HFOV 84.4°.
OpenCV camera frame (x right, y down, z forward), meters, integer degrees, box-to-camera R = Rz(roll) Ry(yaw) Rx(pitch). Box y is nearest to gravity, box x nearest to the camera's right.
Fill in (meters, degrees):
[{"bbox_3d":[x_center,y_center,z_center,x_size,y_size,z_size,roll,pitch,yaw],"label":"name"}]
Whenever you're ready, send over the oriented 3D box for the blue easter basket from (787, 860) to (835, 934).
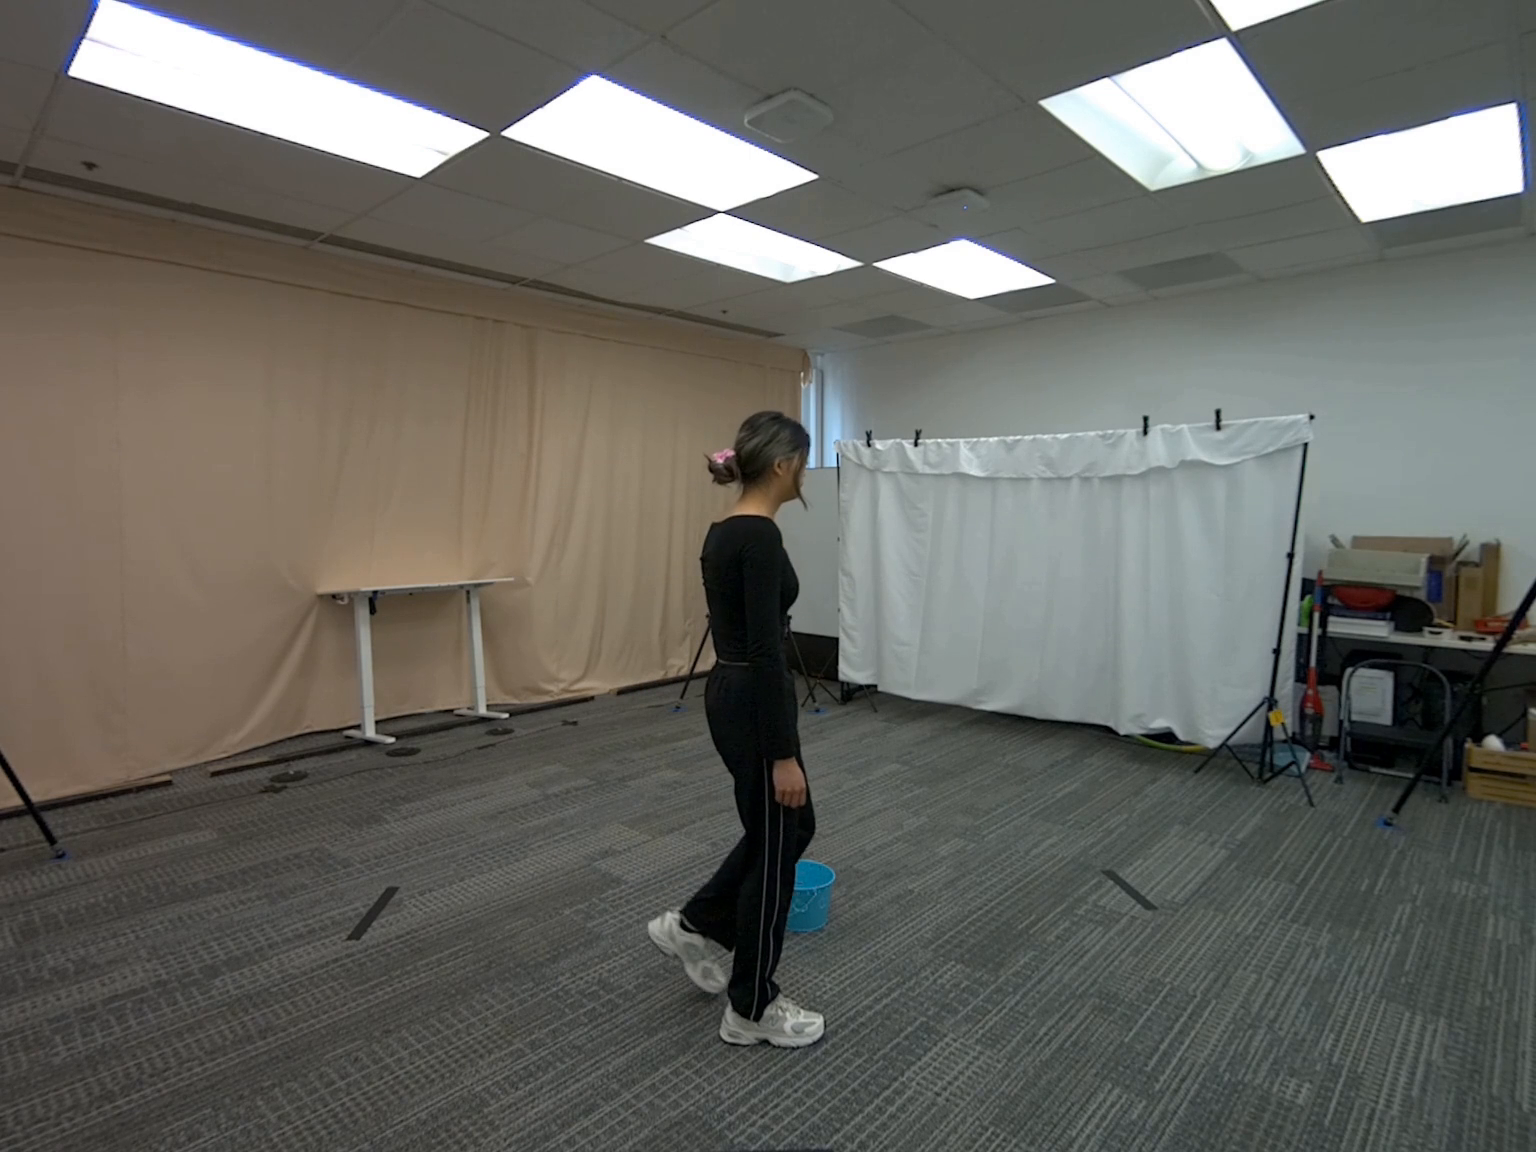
[{"bbox_3d":[0.107,1.076,2.840,0.243,0.155,0.244,0,4,-2],"label":"blue easter basket"}]
